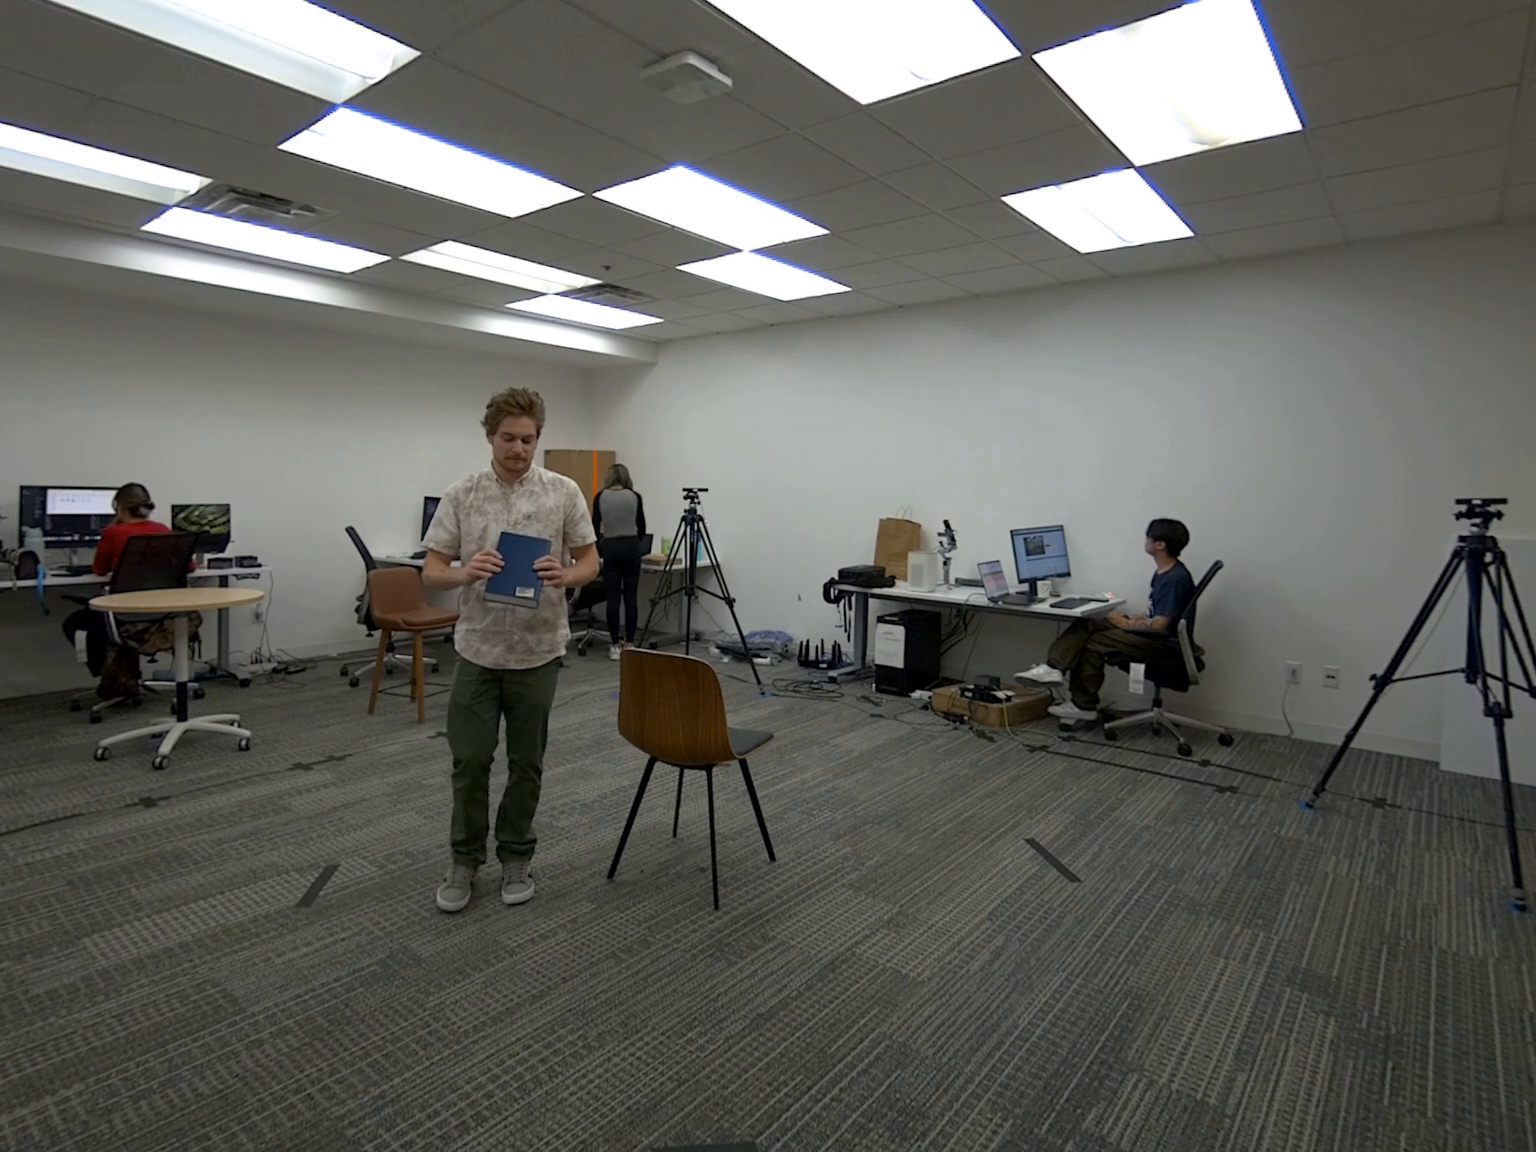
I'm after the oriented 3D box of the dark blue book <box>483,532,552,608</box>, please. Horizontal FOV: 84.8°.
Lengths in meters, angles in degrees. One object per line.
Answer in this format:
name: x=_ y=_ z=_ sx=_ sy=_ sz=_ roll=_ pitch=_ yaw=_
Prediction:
dark blue book: x=-0.797 y=-0.024 z=2.625 sx=0.161 sy=0.252 sz=0.044 roll=9 pitch=-41 yaw=-9
